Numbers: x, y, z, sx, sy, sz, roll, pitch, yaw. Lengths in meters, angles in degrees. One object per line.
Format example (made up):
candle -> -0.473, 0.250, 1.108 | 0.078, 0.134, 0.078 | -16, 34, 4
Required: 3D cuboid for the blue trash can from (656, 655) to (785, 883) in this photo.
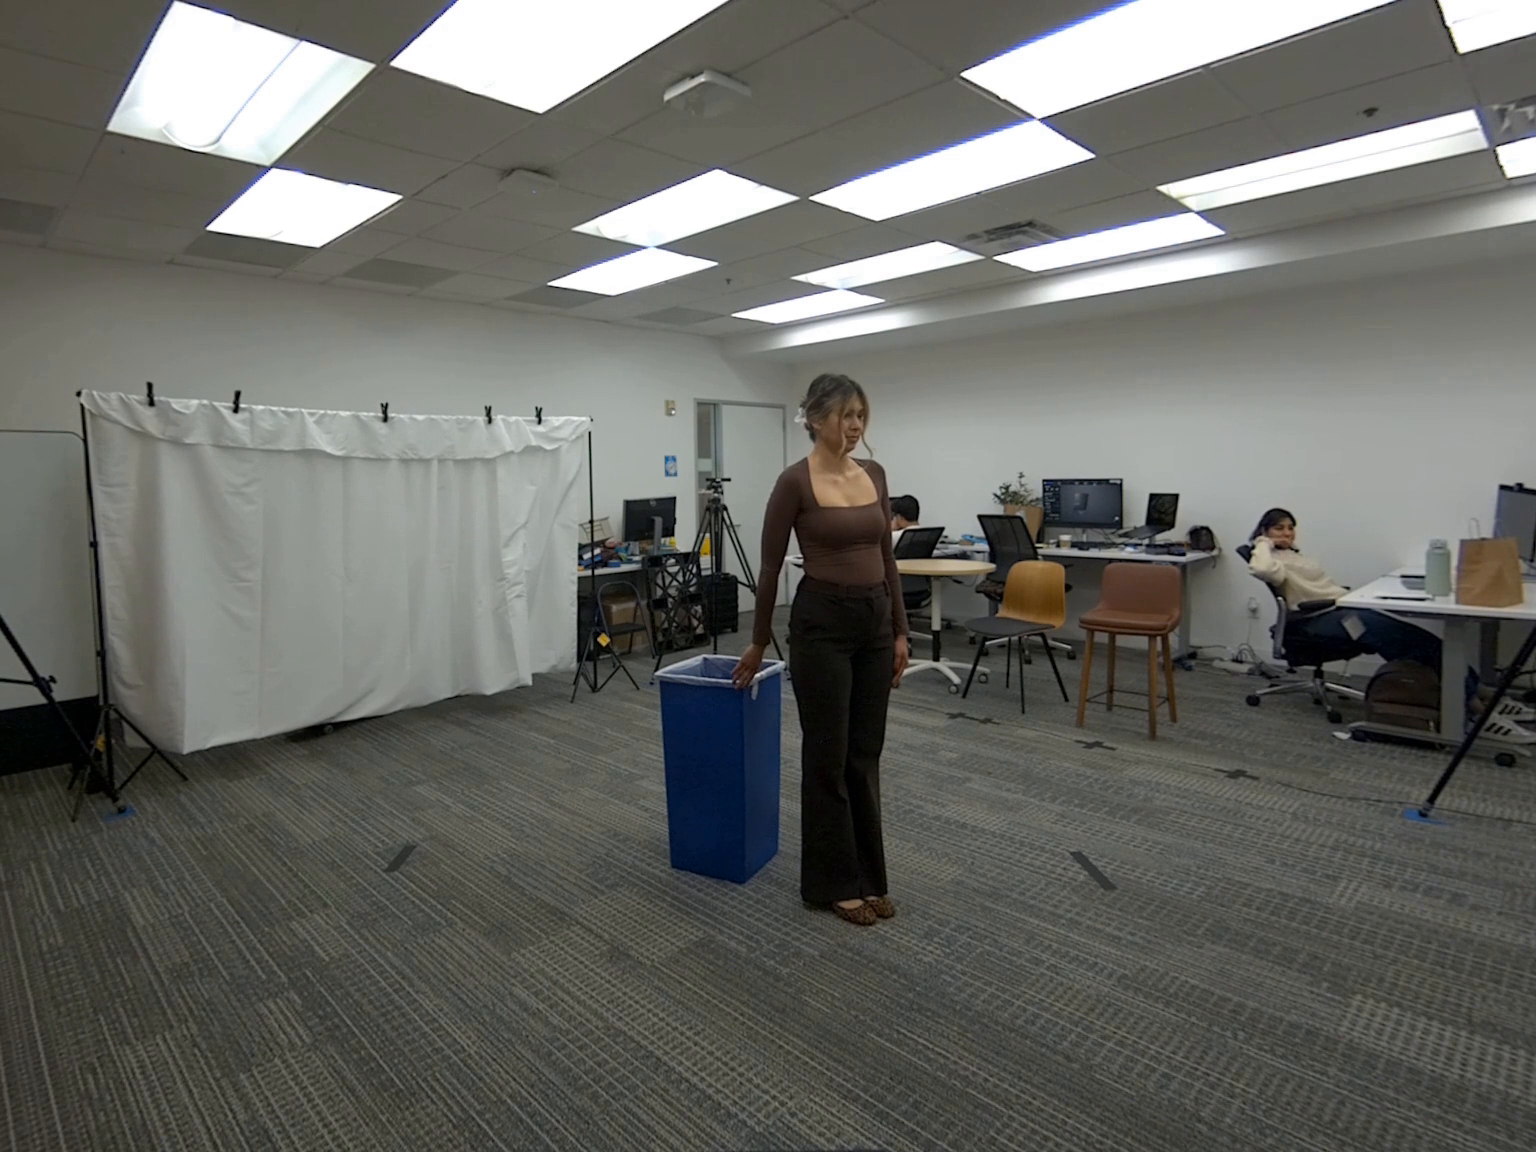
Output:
blue trash can -> -0.157, 0.683, 3.115 | 0.387, 0.712, 0.366 | 1, 3, 26
